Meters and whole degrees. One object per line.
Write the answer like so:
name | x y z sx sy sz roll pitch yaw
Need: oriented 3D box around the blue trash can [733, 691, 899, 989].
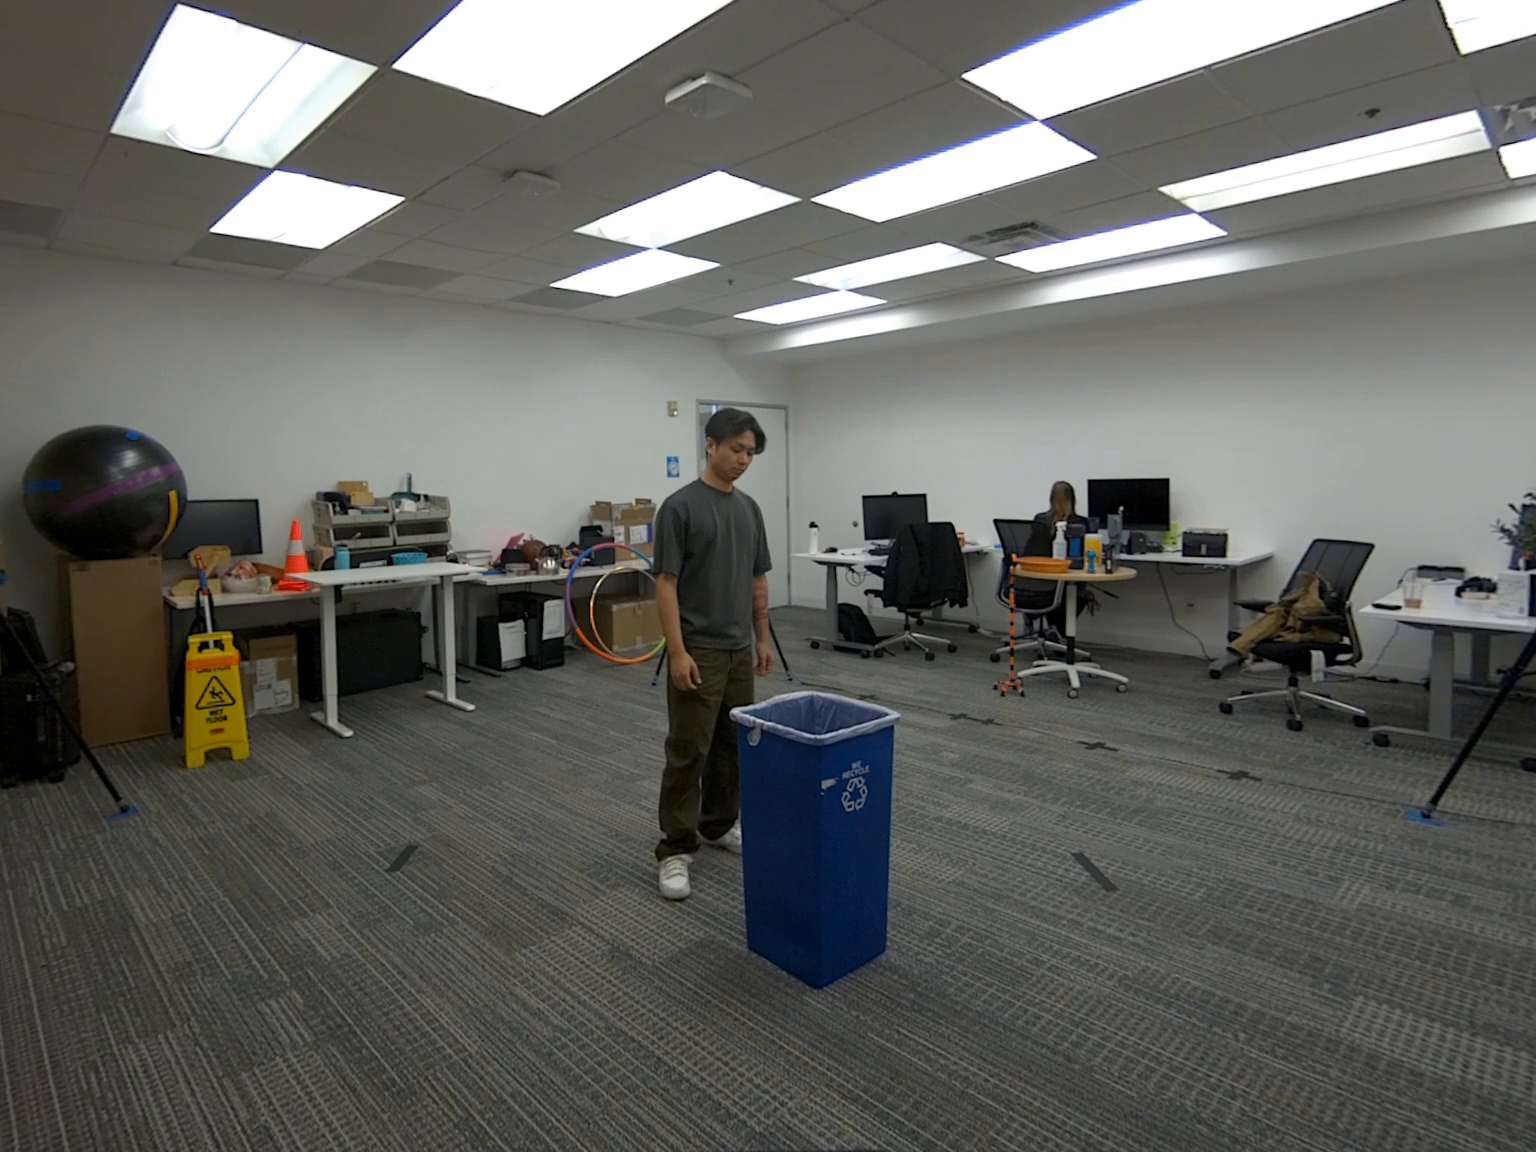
blue trash can | 0.147 0.750 2.520 0.364 0.711 0.390 -5 6 -42
